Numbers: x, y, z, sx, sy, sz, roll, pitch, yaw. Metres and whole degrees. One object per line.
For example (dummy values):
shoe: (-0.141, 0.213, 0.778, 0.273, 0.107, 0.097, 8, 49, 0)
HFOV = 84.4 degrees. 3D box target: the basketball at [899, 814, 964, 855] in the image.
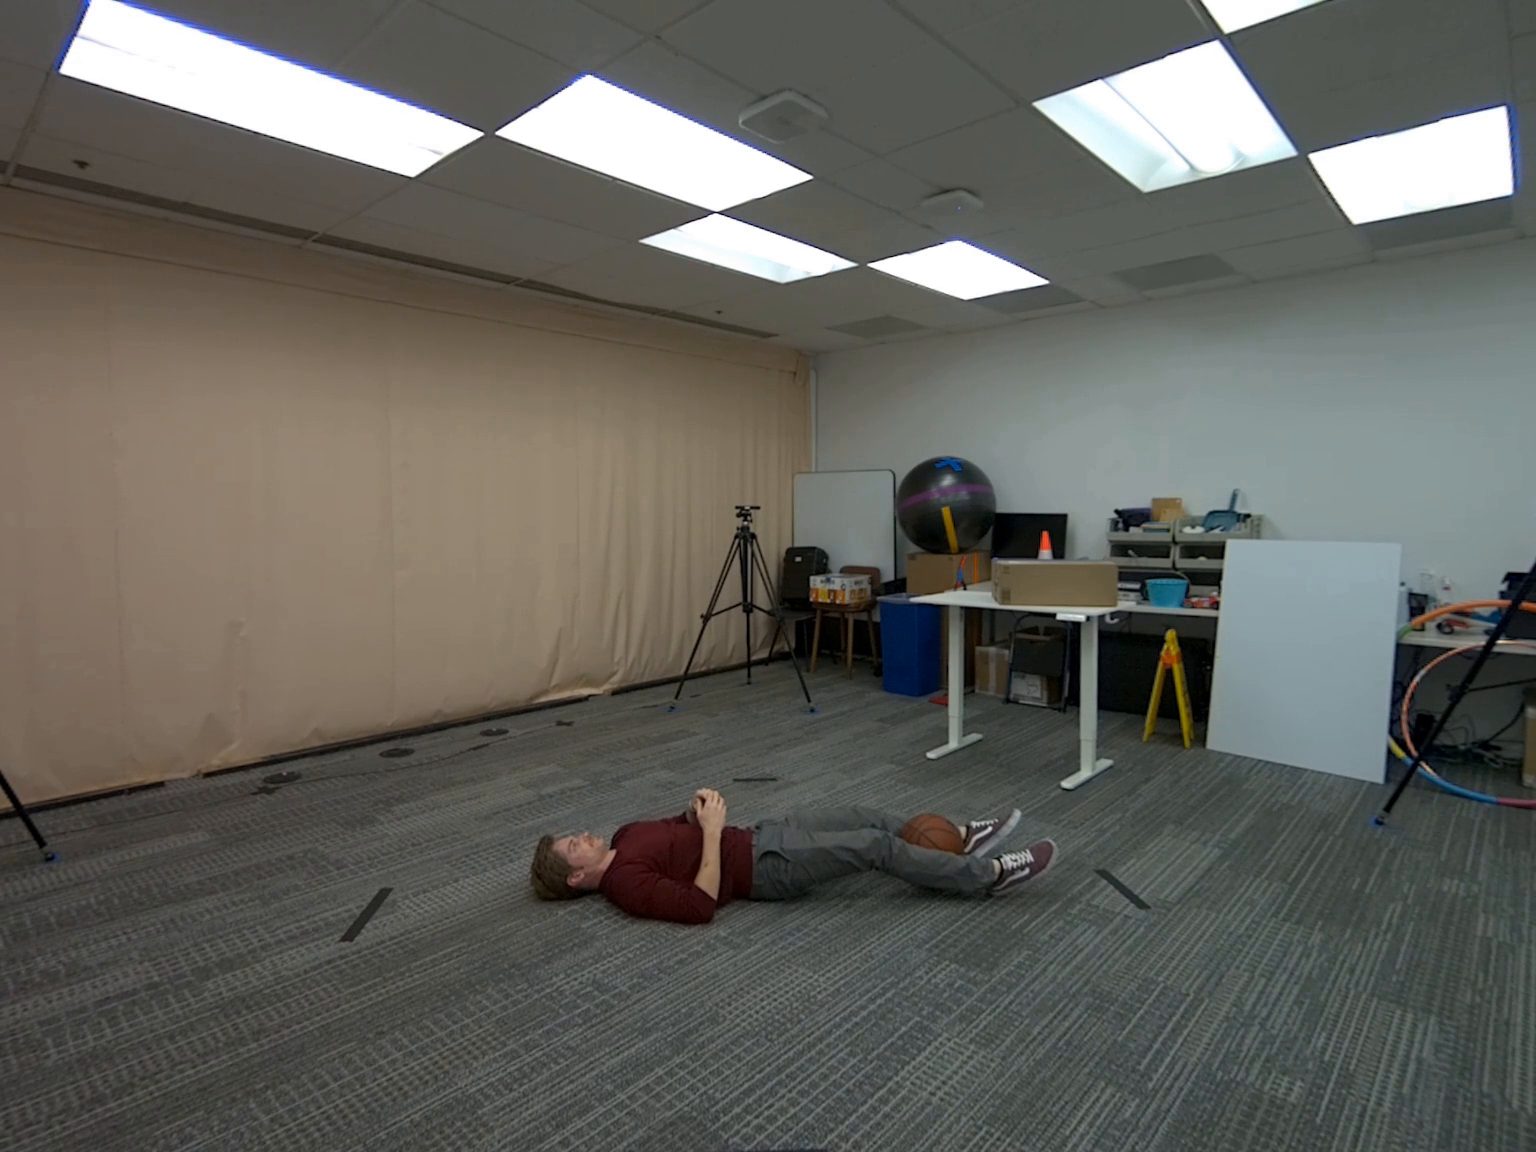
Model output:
basketball: (0.609, 1.000, 3.119, 0.236, 0.235, 0.237, 0, 4, -2)
